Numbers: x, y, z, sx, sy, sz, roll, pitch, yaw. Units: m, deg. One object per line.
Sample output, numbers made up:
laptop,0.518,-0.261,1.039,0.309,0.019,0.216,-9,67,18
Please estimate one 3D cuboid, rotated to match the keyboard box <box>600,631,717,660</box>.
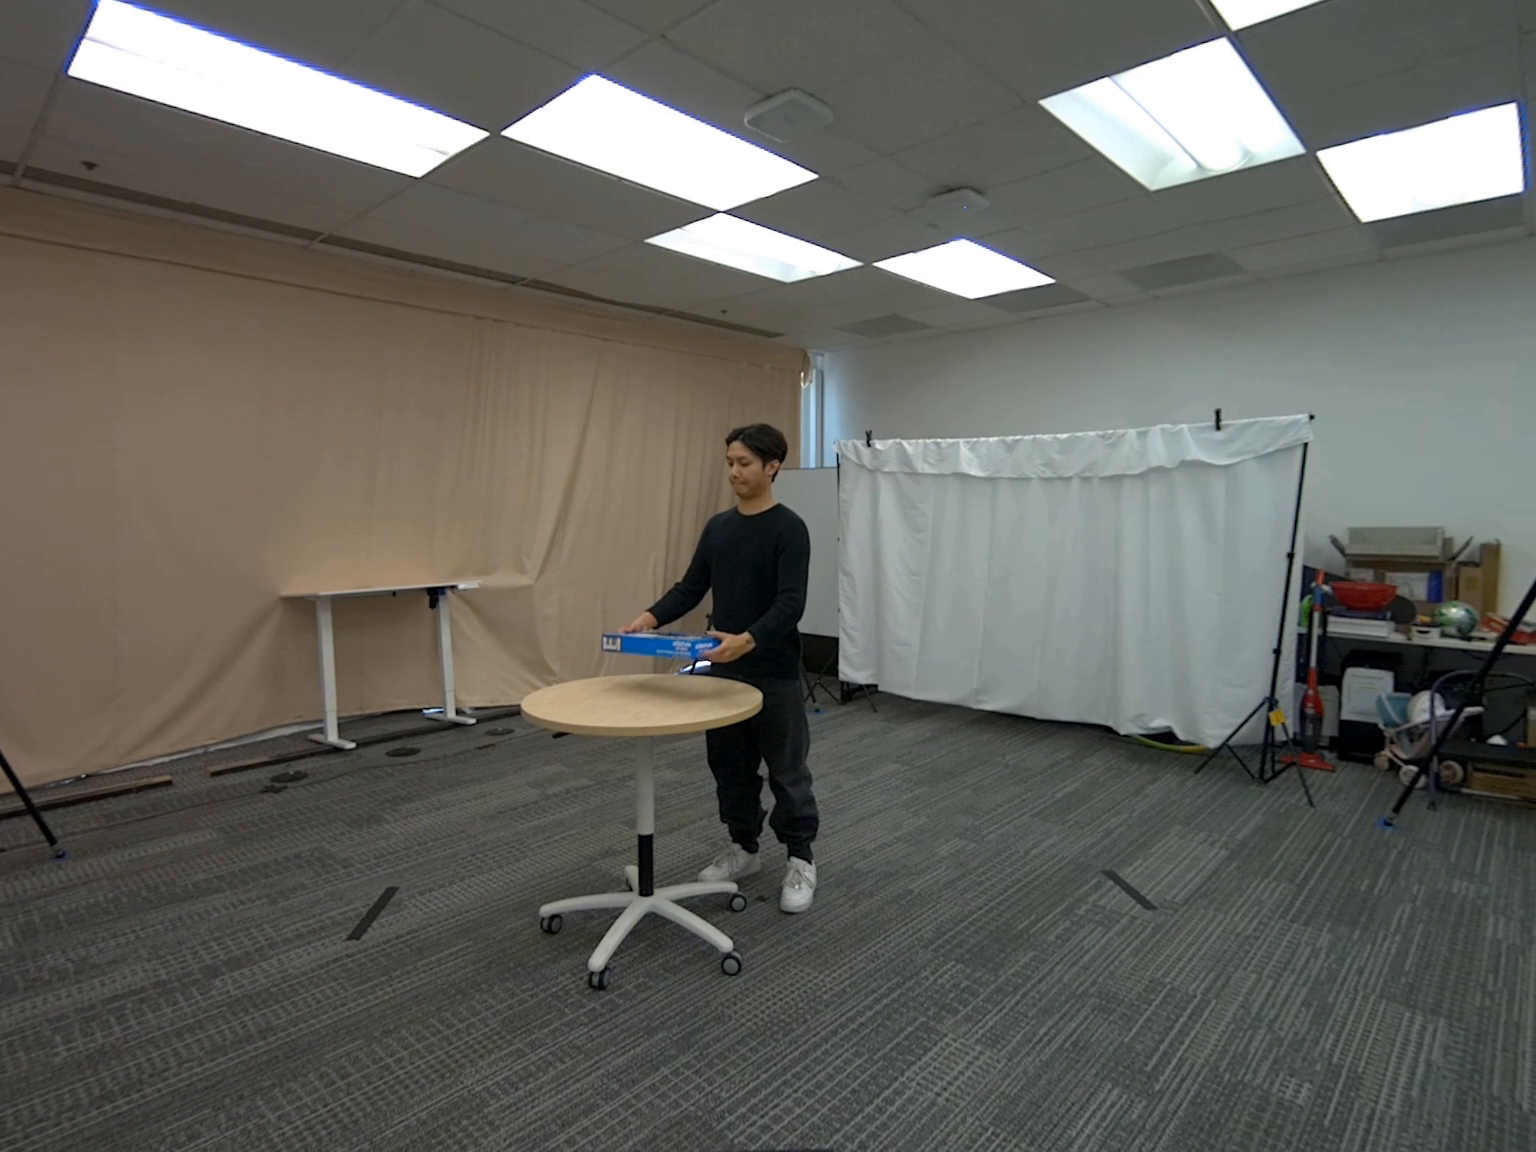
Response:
keyboard box,-0.333,0.221,2.749,0.450,0.059,0.170,-1,1,40
